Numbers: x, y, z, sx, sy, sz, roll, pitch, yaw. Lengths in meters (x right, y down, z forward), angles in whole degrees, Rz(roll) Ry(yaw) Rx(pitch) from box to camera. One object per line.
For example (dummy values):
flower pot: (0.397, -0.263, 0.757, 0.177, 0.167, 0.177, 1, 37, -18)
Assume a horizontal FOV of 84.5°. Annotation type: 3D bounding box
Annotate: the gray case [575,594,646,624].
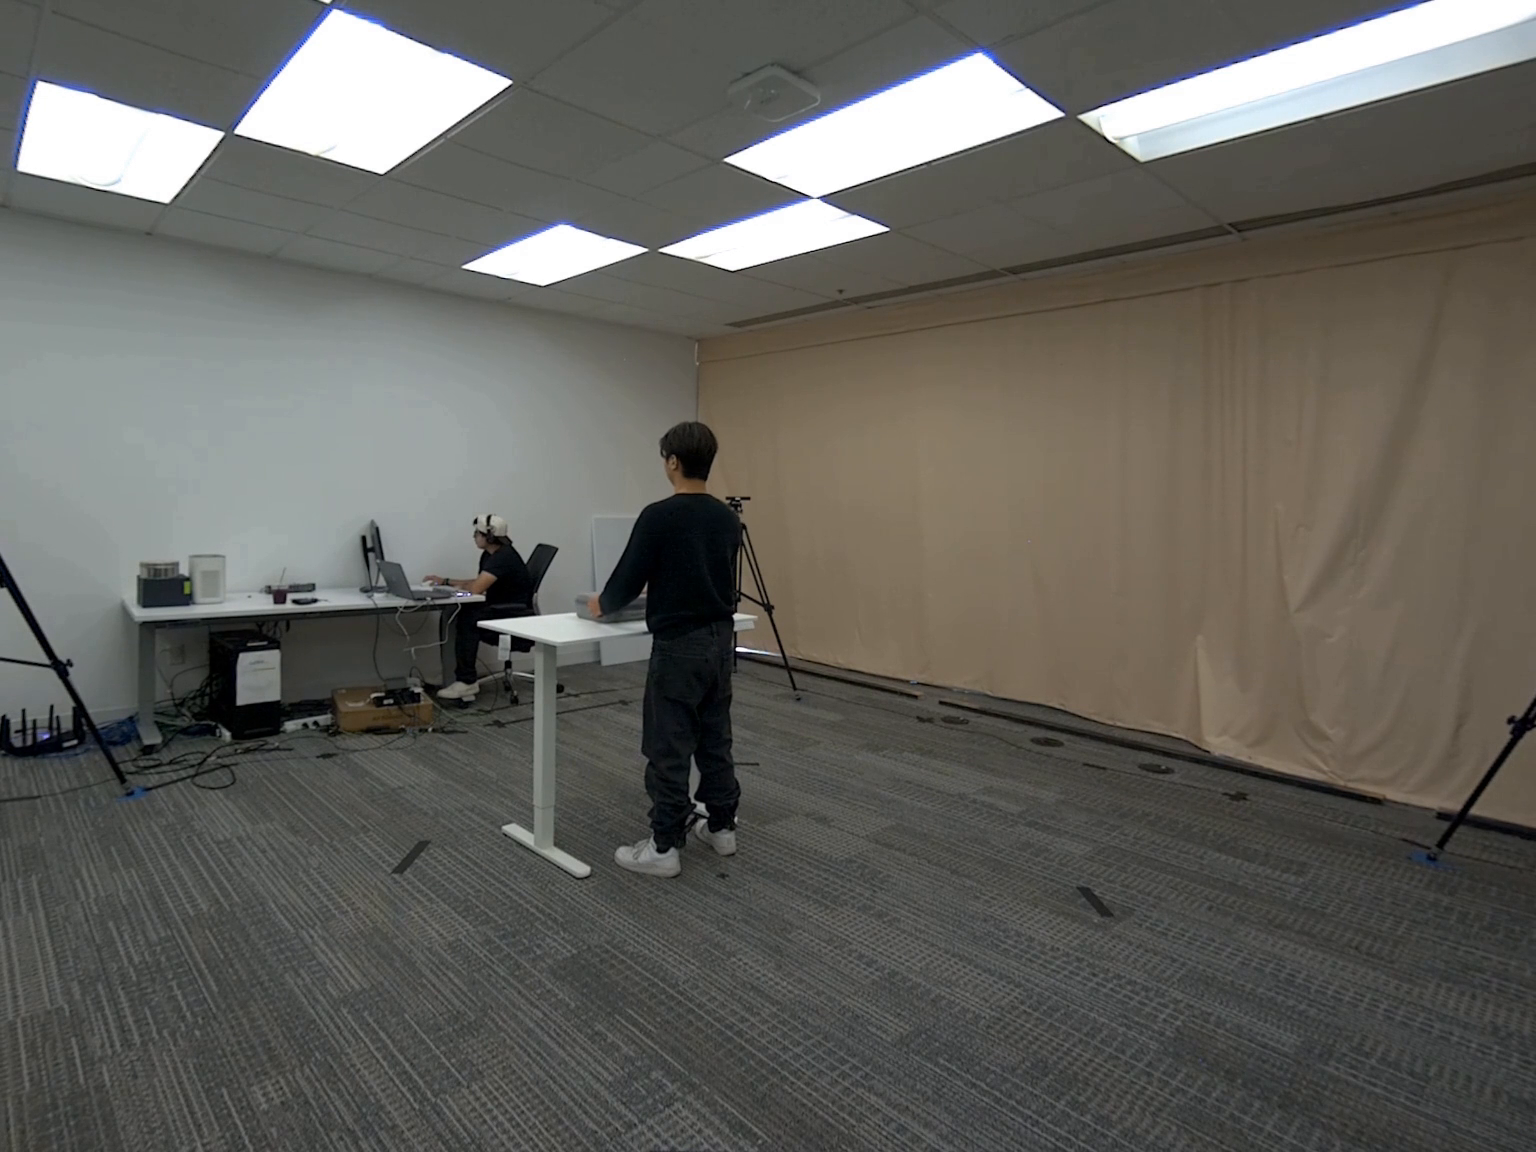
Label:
gray case: (-0.645, 0.125, 3.515, 0.251, 0.104, 0.267, -2, 5, -42)
